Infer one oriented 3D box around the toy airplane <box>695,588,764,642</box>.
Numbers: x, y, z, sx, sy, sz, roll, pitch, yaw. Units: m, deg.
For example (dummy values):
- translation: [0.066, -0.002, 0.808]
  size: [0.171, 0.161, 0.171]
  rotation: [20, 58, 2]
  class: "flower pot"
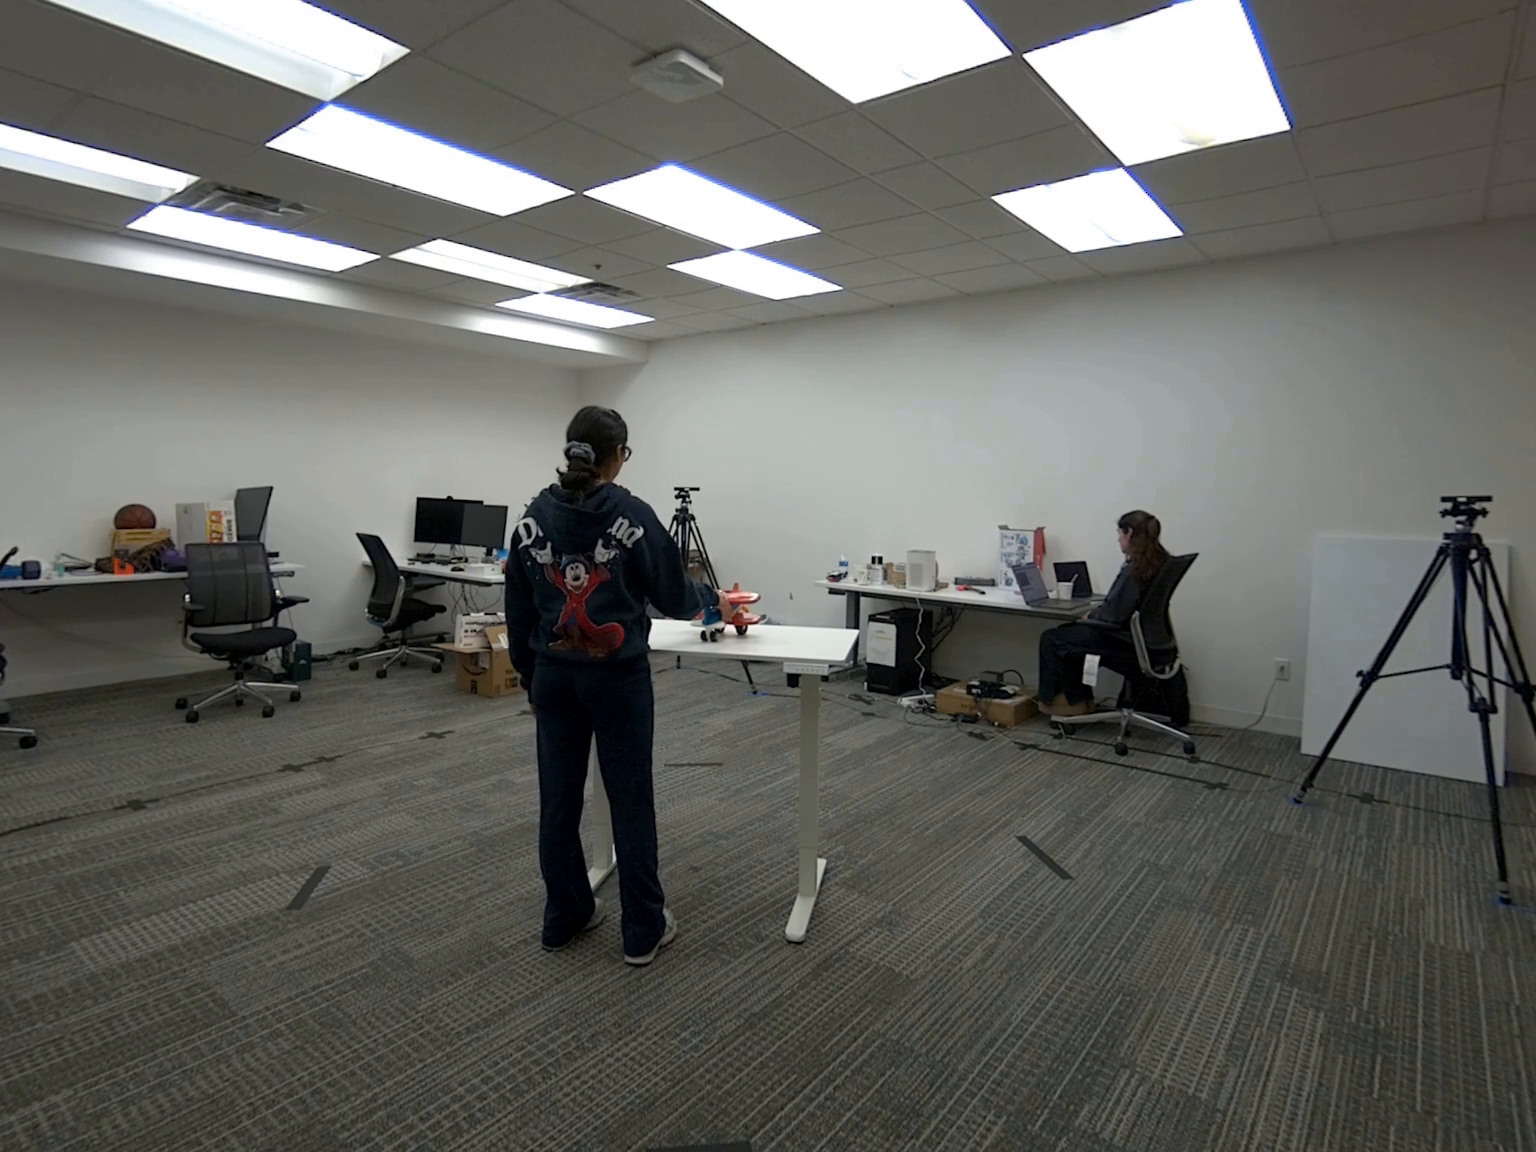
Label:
- translation: [-0.145, 0.131, 2.902]
  size: [0.250, 0.156, 0.261]
  rotation: [0, 3, -6]
  class: "toy airplane"
